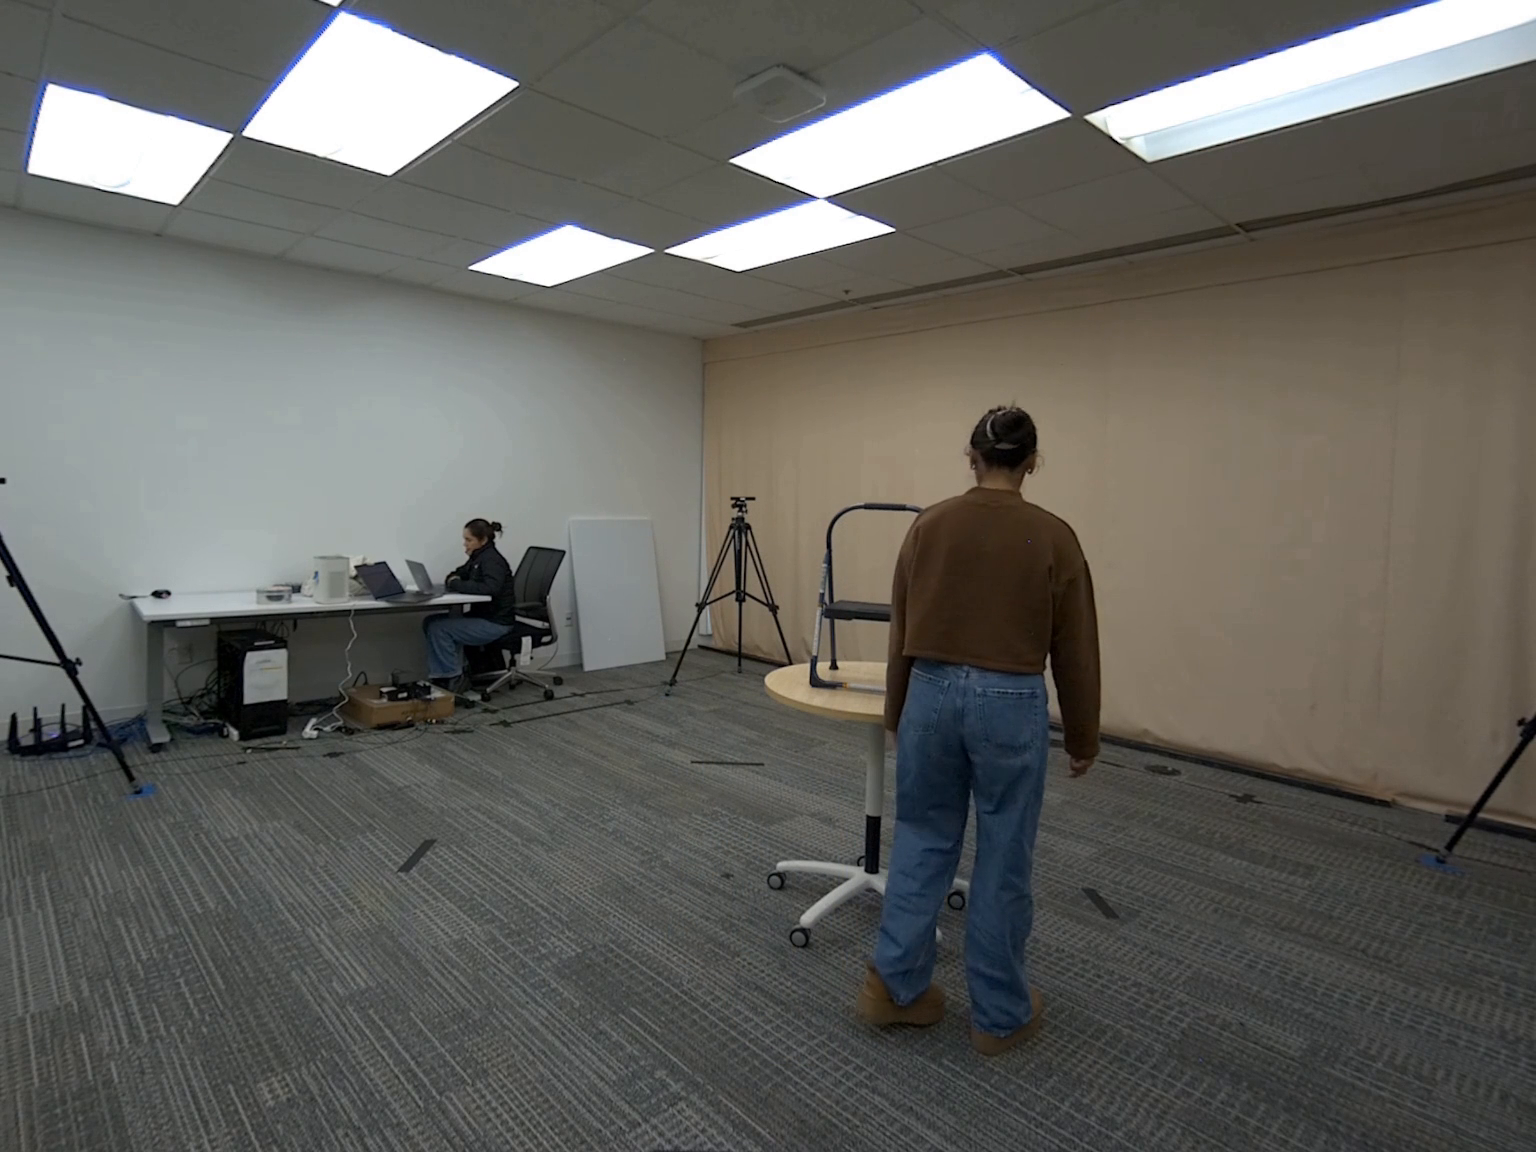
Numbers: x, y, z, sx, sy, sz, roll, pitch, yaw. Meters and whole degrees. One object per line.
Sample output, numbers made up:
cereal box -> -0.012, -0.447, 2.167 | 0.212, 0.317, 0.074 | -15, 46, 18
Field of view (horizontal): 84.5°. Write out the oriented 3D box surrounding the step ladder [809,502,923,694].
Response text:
step ladder -> 0.391, 0.065, 2.818 | 0.437, 0.605, 0.344 | 3, 3, 19
